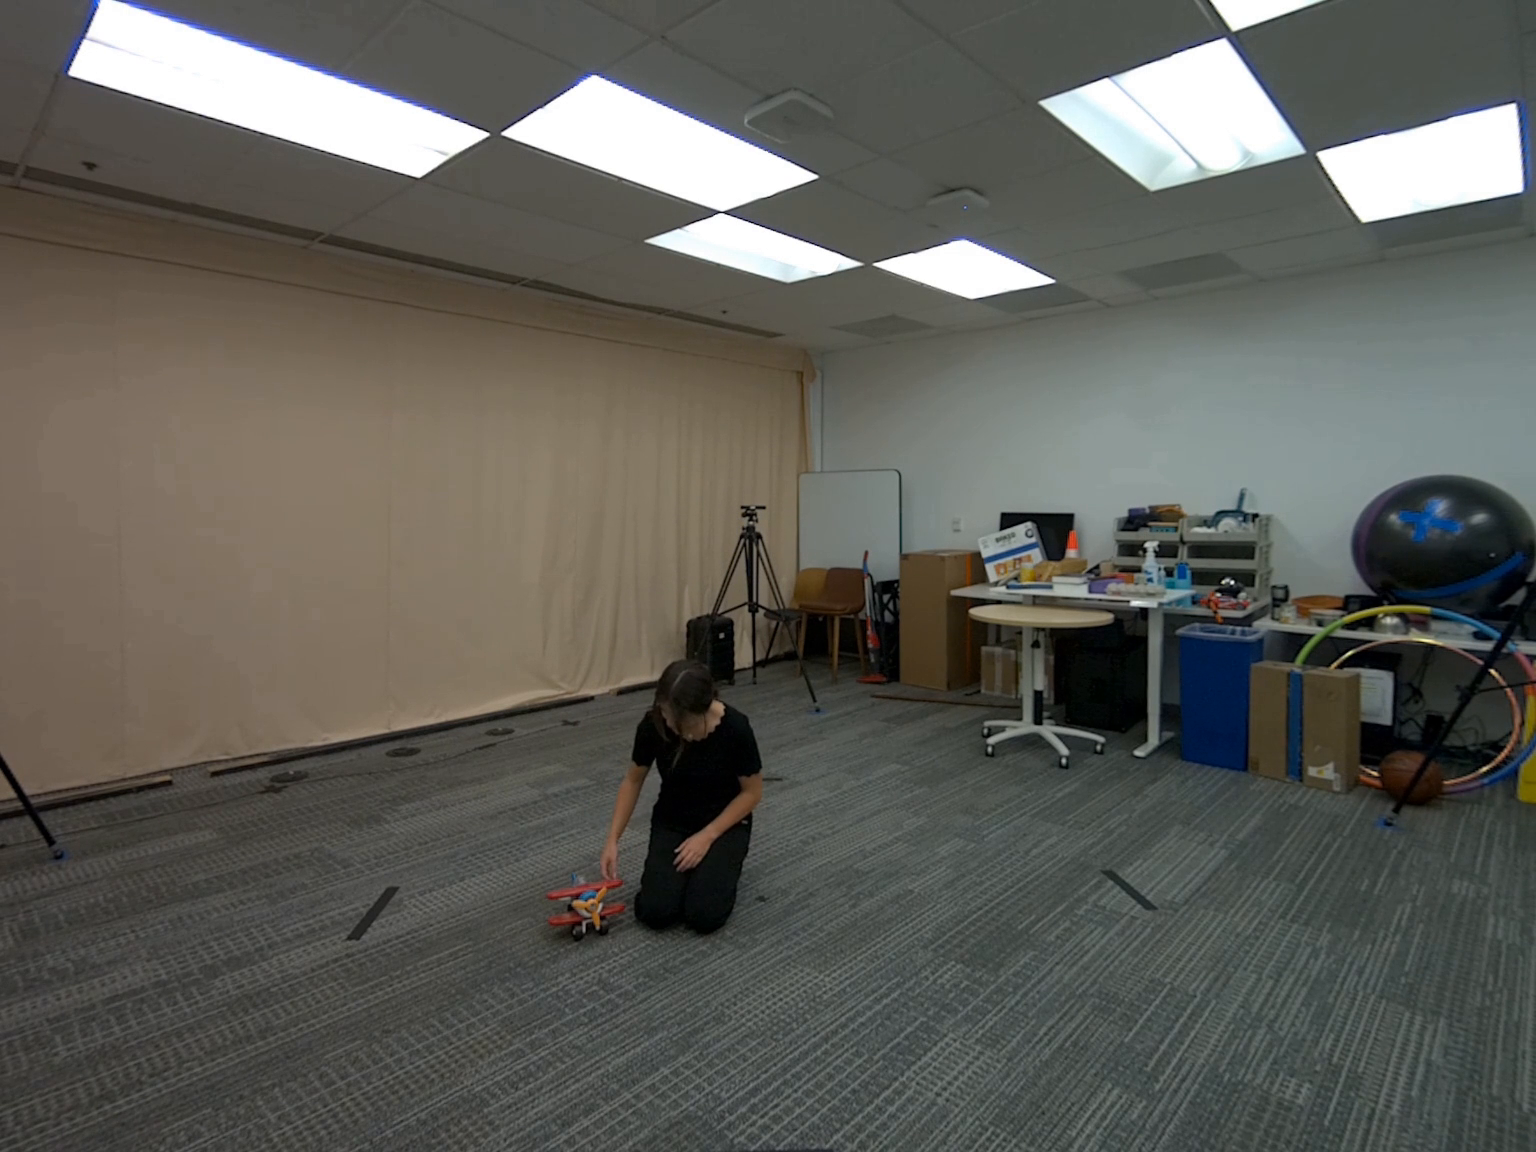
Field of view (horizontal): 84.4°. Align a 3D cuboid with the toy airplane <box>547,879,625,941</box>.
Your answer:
[{"bbox_3d":[-0.634,1.093,2.790,0.267,0.156,0.244,4,7,35],"label":"toy airplane"}]
